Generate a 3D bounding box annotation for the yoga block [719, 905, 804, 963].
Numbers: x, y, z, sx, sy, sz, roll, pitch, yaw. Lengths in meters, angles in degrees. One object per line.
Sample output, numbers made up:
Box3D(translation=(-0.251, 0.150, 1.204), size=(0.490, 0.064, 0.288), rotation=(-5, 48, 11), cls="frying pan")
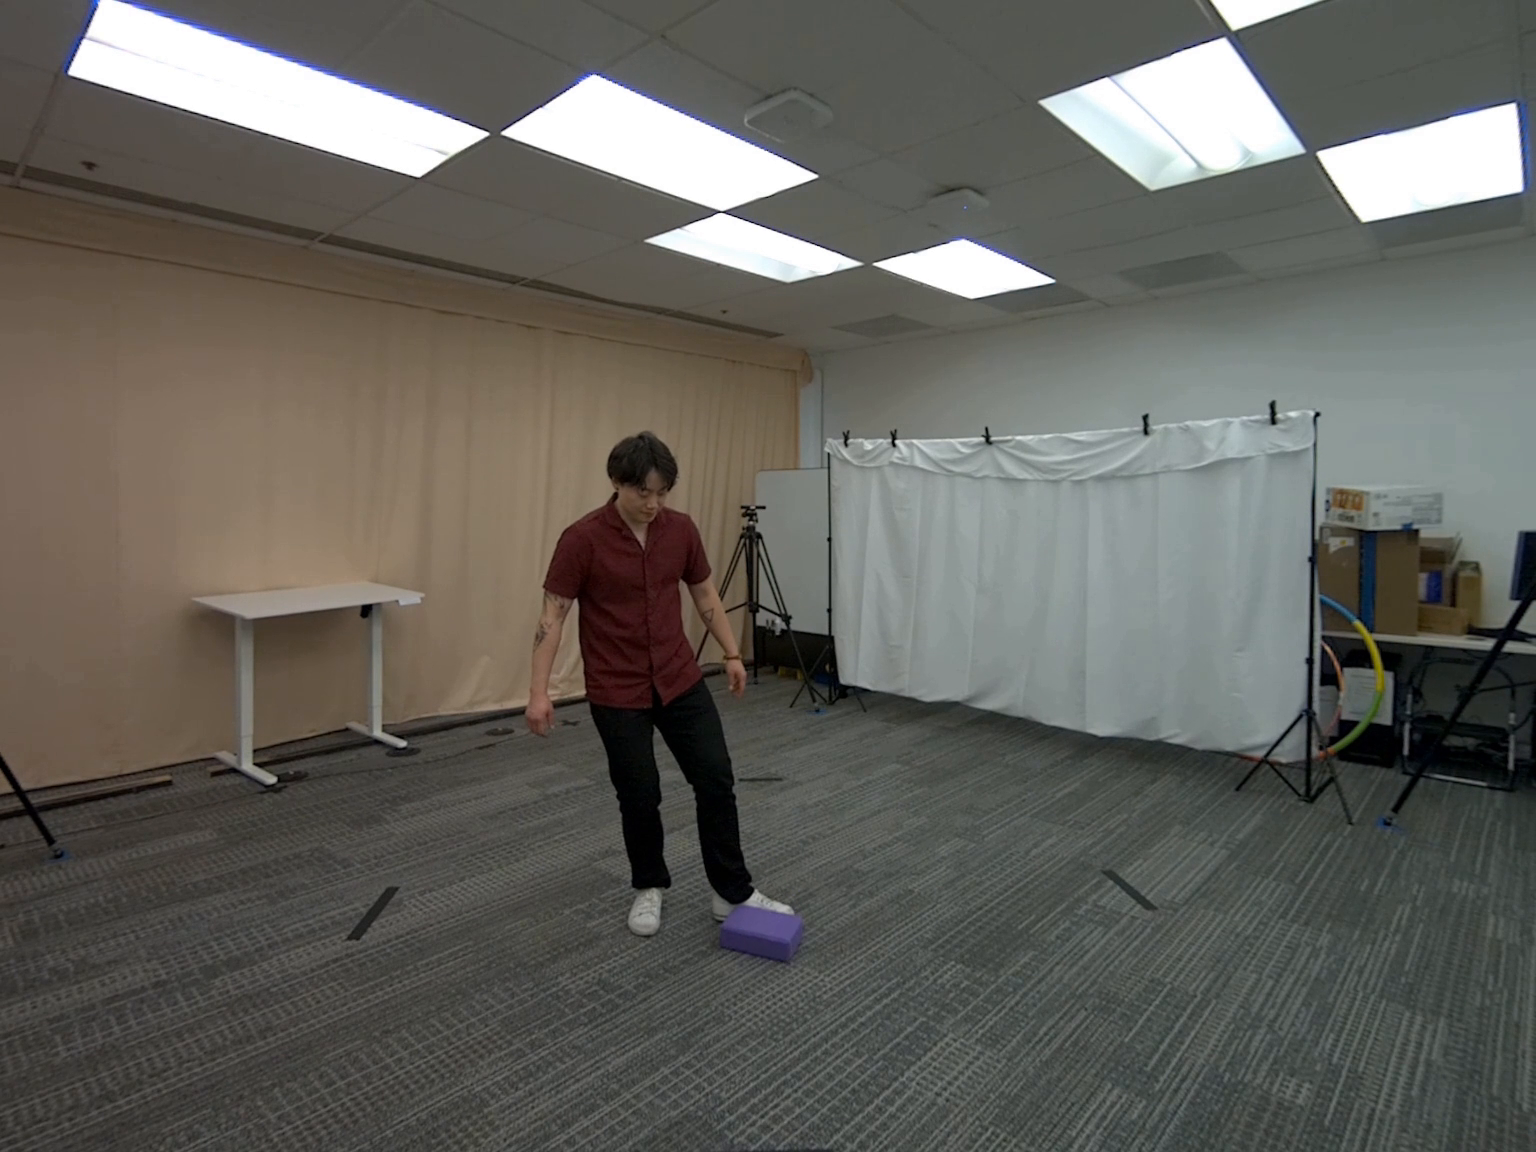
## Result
Box3D(translation=(-0.018, 1.121, 2.660), size=(0.235, 0.076, 0.146), rotation=(2, 9, 23), cls="yoga block")
